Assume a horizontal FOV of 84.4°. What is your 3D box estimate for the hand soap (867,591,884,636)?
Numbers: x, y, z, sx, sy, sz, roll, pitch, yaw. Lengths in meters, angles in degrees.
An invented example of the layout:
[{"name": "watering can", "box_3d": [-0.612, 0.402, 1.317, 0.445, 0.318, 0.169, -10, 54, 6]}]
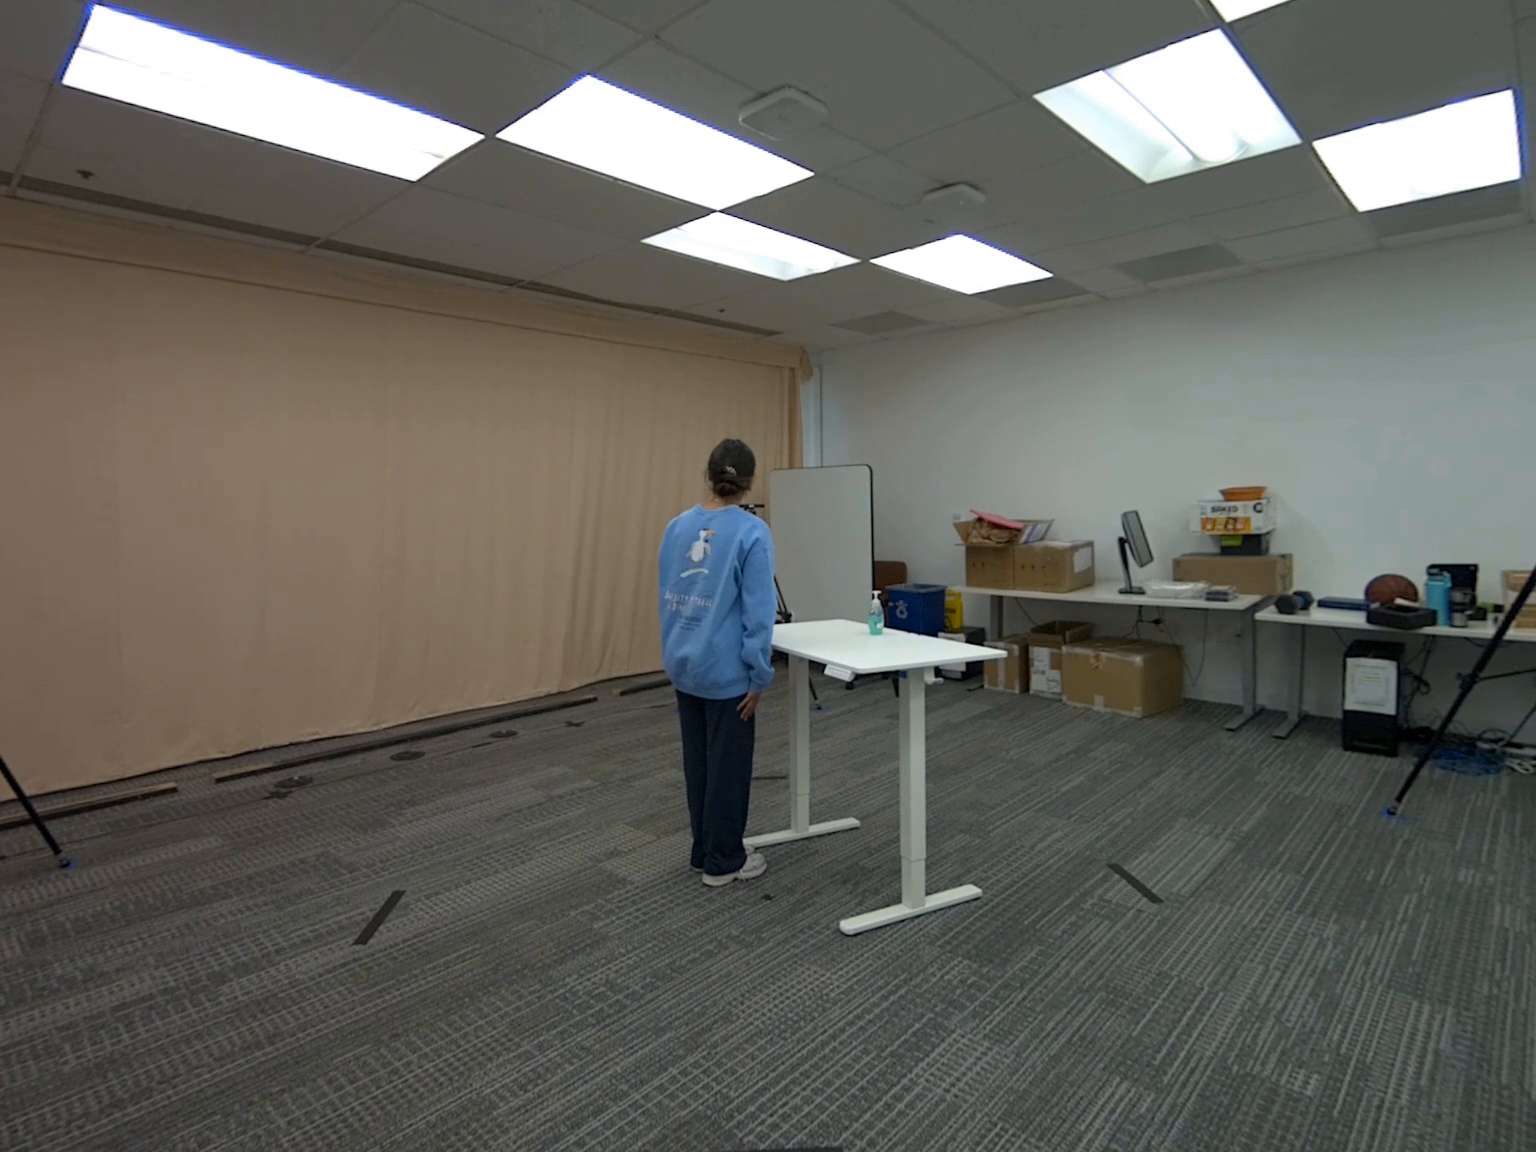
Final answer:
[{"name": "hand soap", "box_3d": [0.427, 0.144, 3.268, 0.045, 0.168, 0.082, 1, 3, 43]}]
